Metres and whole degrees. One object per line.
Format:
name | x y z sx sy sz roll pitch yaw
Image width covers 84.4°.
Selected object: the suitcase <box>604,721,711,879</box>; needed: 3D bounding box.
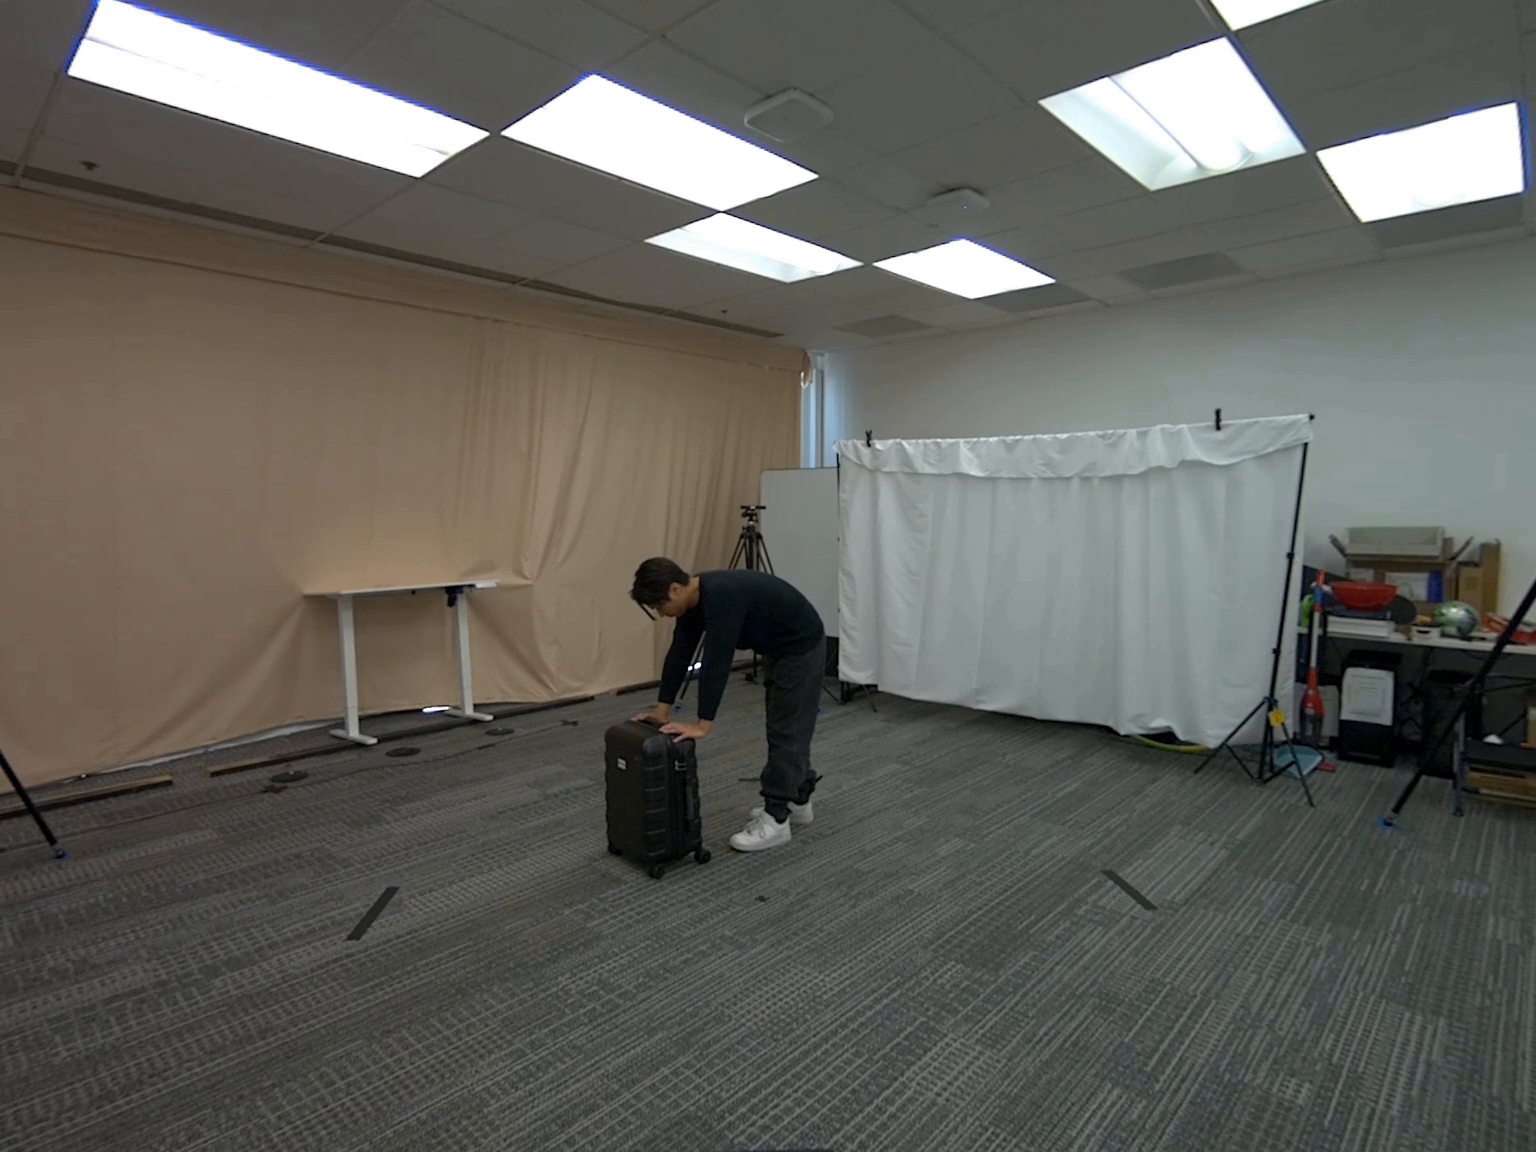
suitcase | -0.455 0.848 3.300 0.241 0.547 0.388 -6 7 -39
